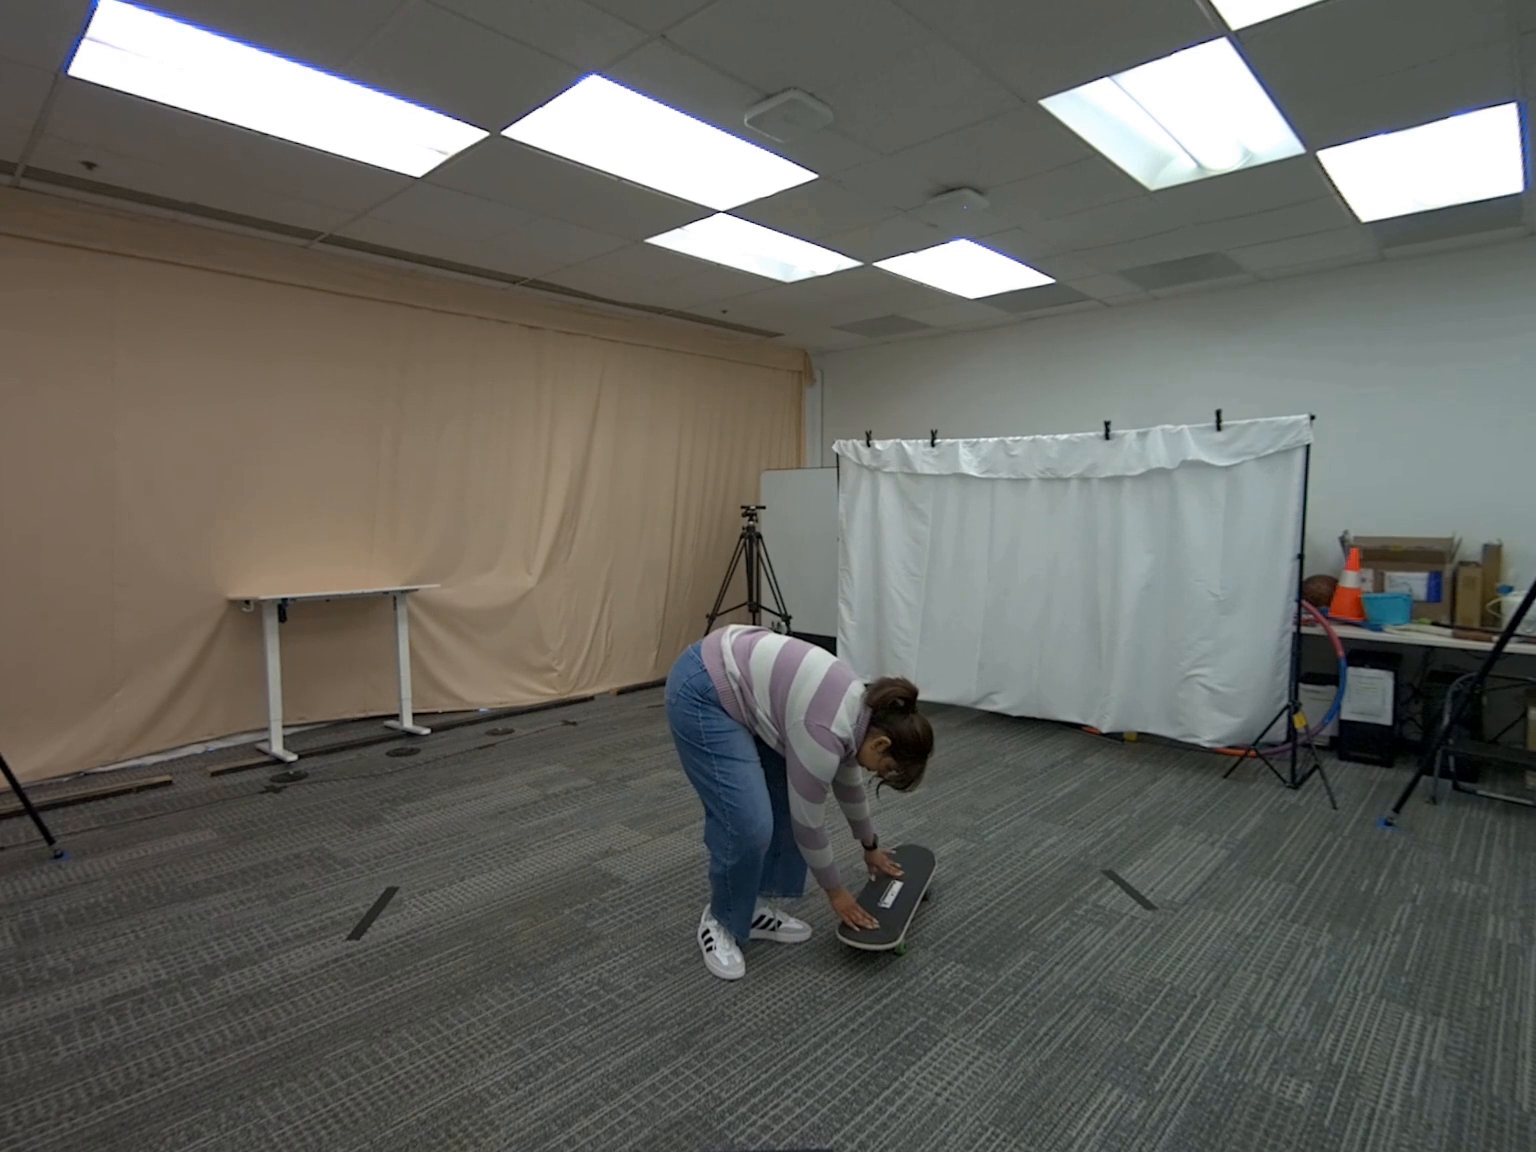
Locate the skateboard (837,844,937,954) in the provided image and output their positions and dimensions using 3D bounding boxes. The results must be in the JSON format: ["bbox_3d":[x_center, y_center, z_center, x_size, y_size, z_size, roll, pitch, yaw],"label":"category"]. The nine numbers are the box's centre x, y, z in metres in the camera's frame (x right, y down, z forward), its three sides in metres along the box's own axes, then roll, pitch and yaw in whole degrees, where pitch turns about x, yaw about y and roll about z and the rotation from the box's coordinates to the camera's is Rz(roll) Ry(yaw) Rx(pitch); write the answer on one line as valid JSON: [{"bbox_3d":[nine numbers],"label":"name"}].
[{"bbox_3d":[0.417,1.100,2.823,0.198,0.110,0.770,1,6,22],"label":"skateboard"}]
